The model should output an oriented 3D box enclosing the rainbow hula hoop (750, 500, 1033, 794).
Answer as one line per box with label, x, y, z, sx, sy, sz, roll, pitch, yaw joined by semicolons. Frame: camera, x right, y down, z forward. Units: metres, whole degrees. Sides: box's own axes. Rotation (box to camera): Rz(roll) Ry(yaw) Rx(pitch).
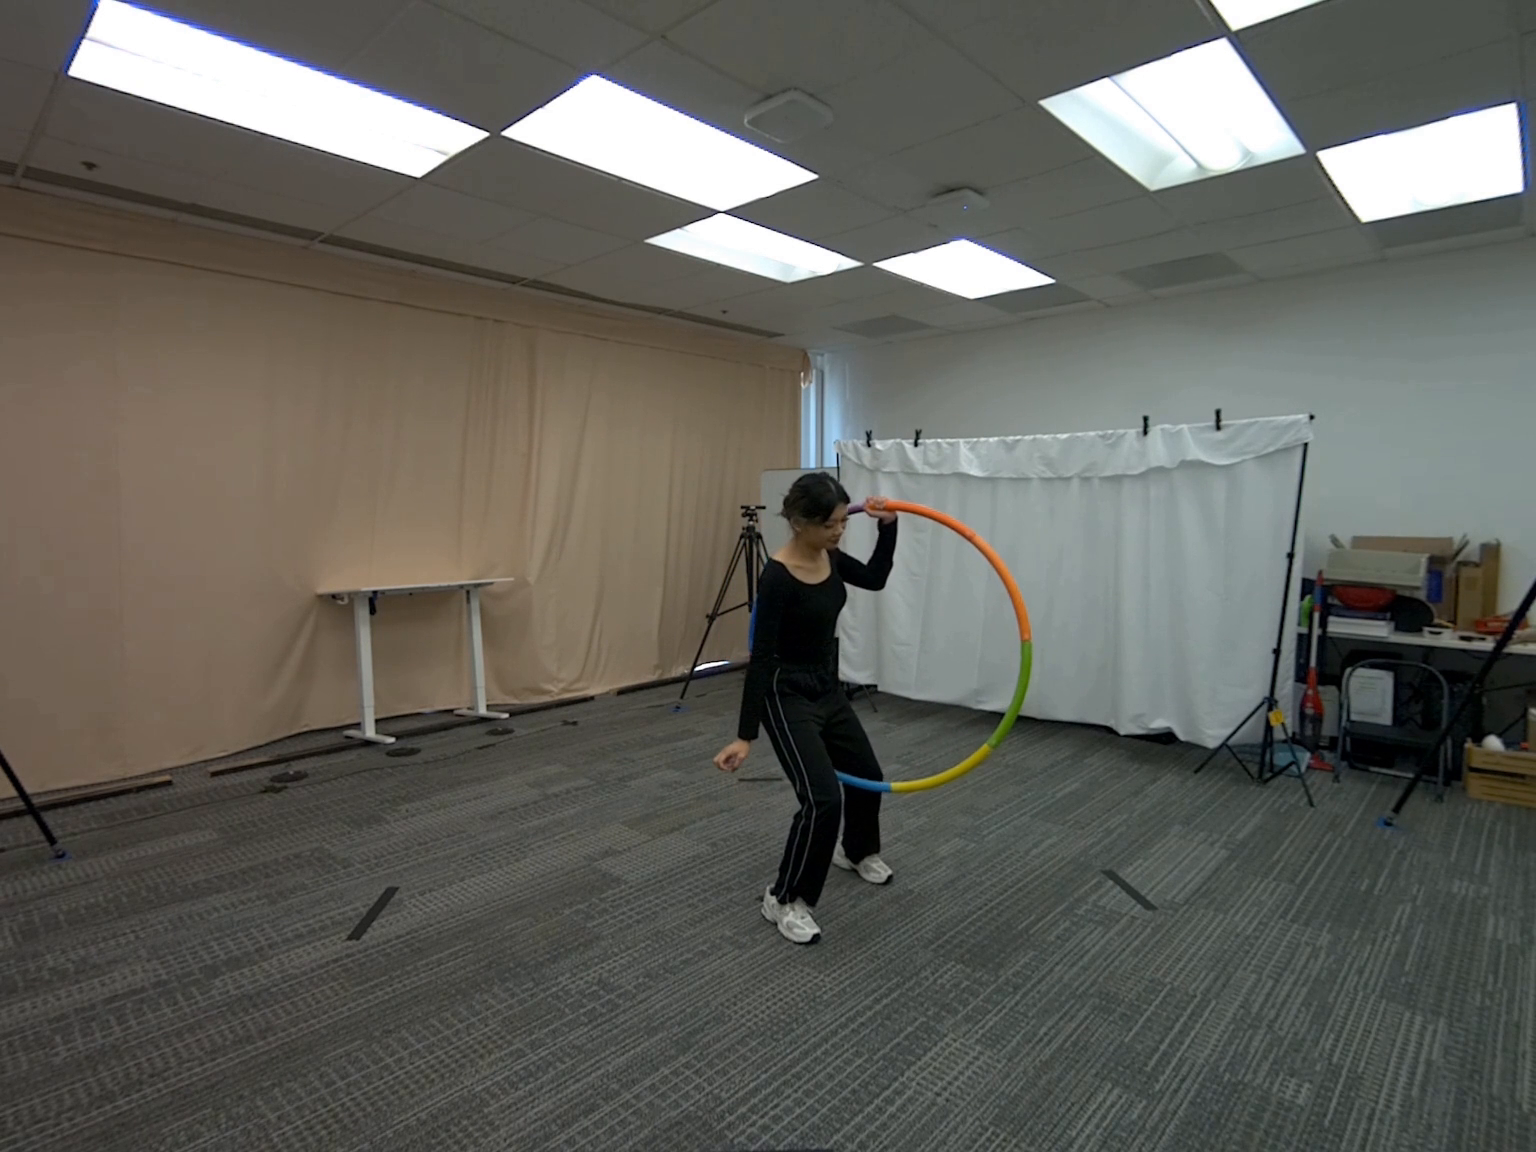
rainbow hula hoop;0.388;0.234;2.893;1.002;0.979;0.035;1;-1;23
